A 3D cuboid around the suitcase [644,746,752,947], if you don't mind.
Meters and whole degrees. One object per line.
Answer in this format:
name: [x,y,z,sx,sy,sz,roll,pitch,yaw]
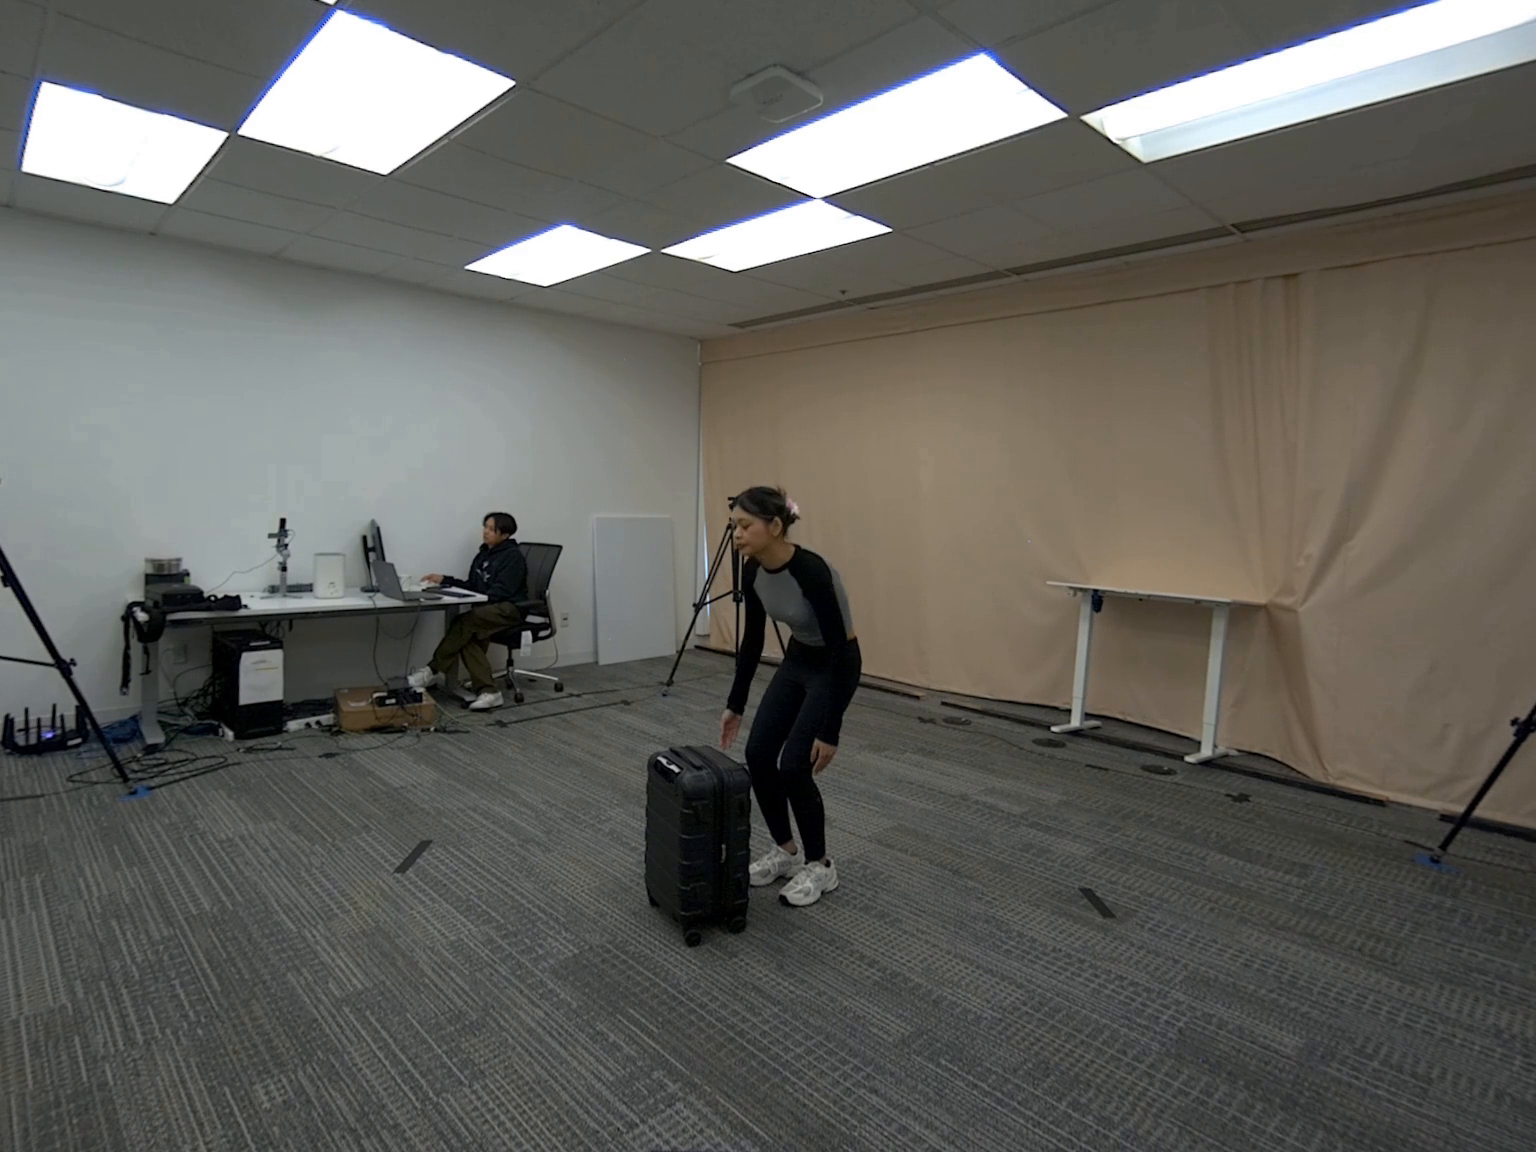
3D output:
suitcase: [-0.245,0.856,2.781,0.243,0.548,0.384,0,3,-30]
